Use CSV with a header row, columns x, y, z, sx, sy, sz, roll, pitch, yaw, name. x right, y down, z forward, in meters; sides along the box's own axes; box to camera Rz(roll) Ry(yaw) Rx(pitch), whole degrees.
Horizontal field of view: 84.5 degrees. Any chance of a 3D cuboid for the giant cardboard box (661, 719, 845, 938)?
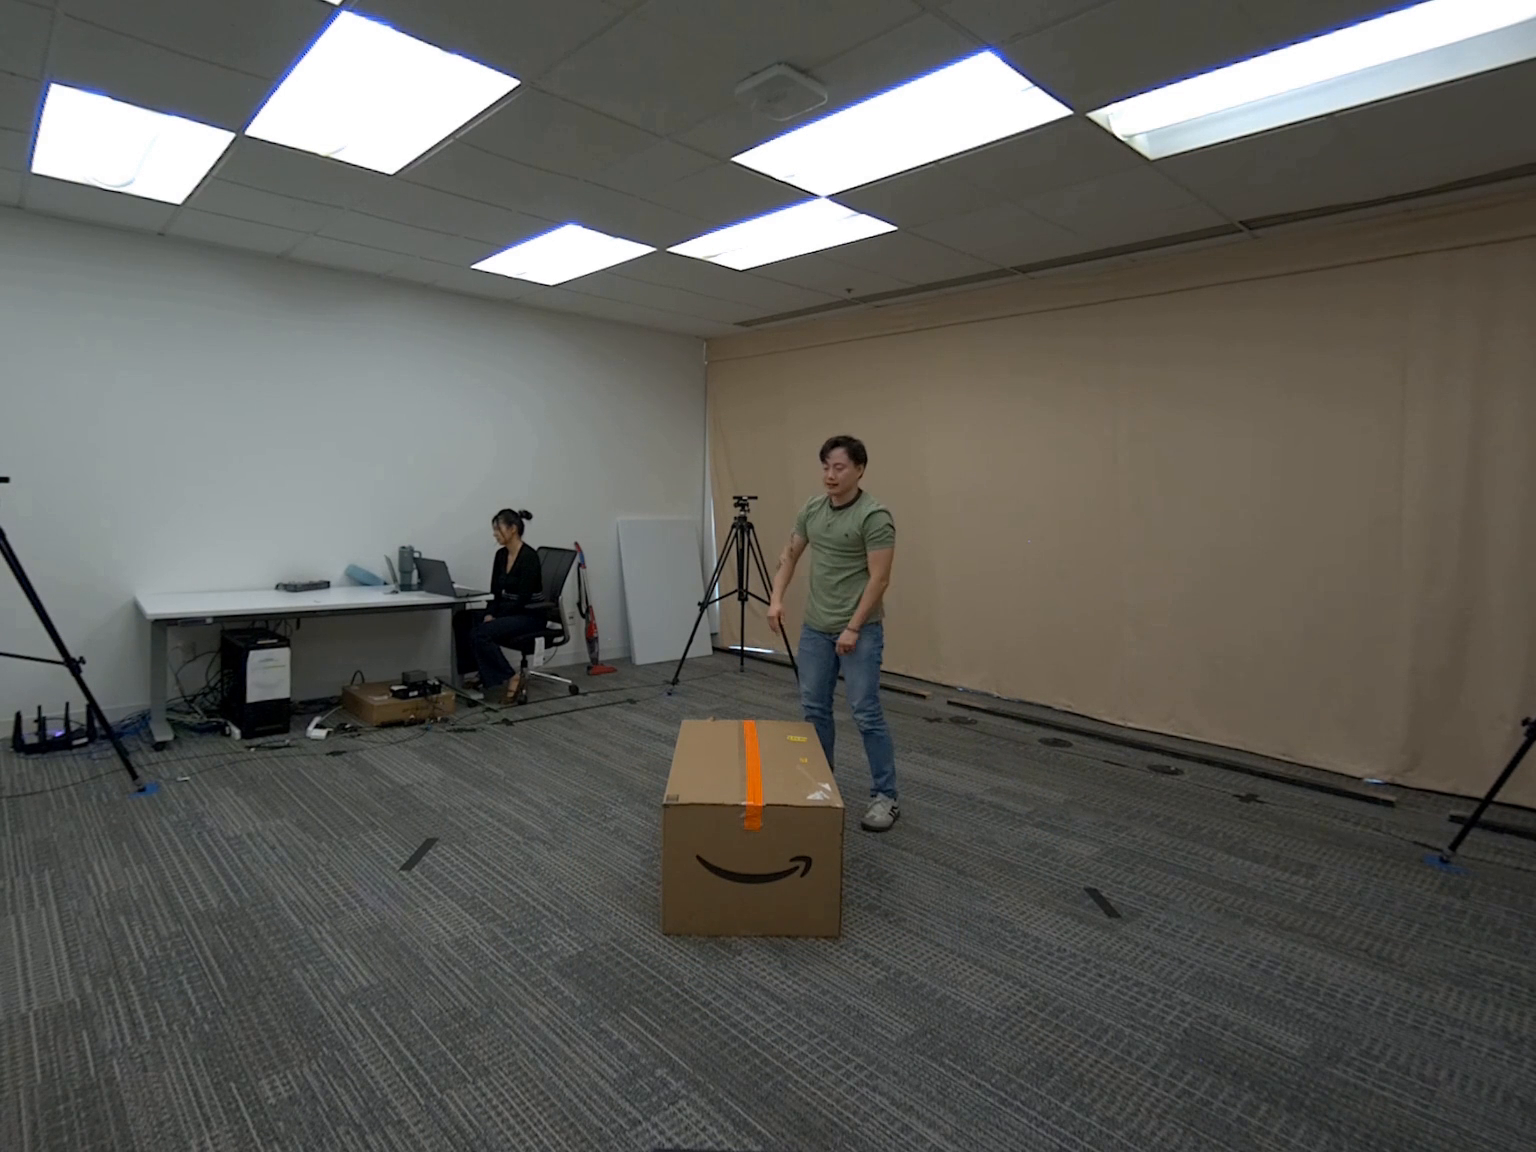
x,y,z,sx,sy,sz,roll,pitch,yaw,name
-0.081,0.884,3.161,0.577,0.425,1.029,2,4,-2,giant cardboard box
